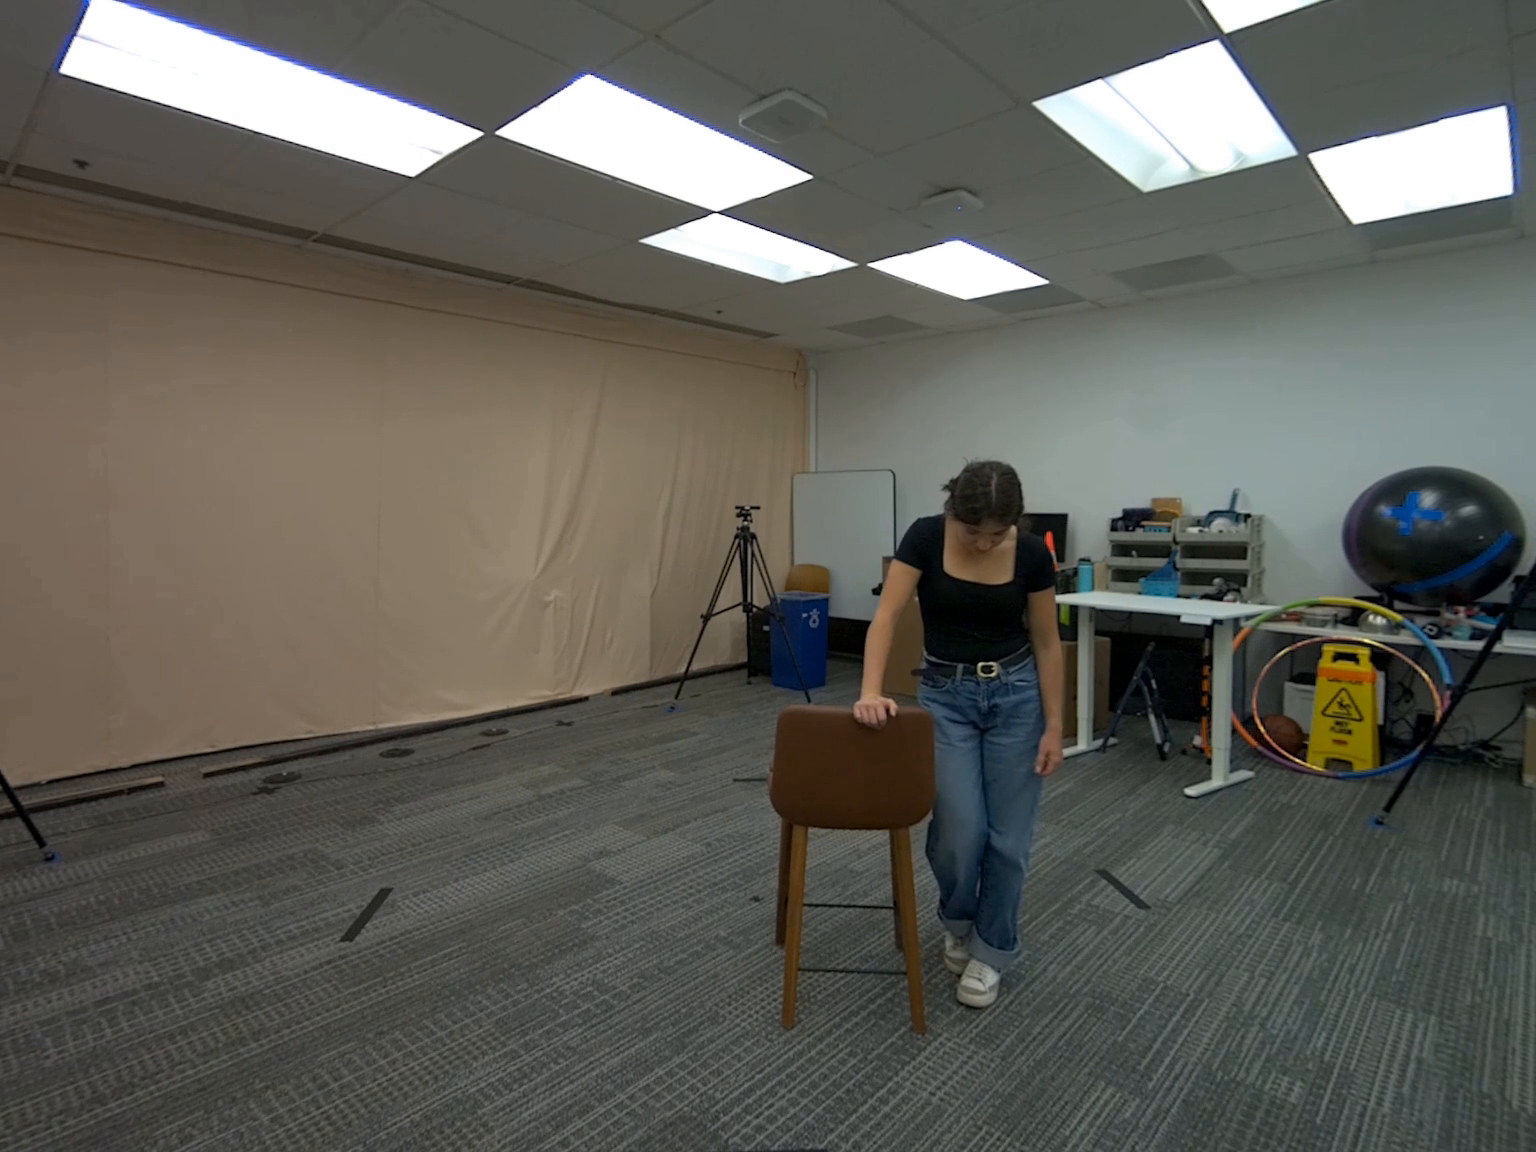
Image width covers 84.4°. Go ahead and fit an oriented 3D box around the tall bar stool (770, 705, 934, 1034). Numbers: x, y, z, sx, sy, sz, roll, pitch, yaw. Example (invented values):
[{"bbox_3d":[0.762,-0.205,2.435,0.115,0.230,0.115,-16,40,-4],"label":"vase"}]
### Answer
[{"bbox_3d":[0.231,0.757,2.419,0.458,0.887,0.468,1,5,2],"label":"tall bar stool"}]
